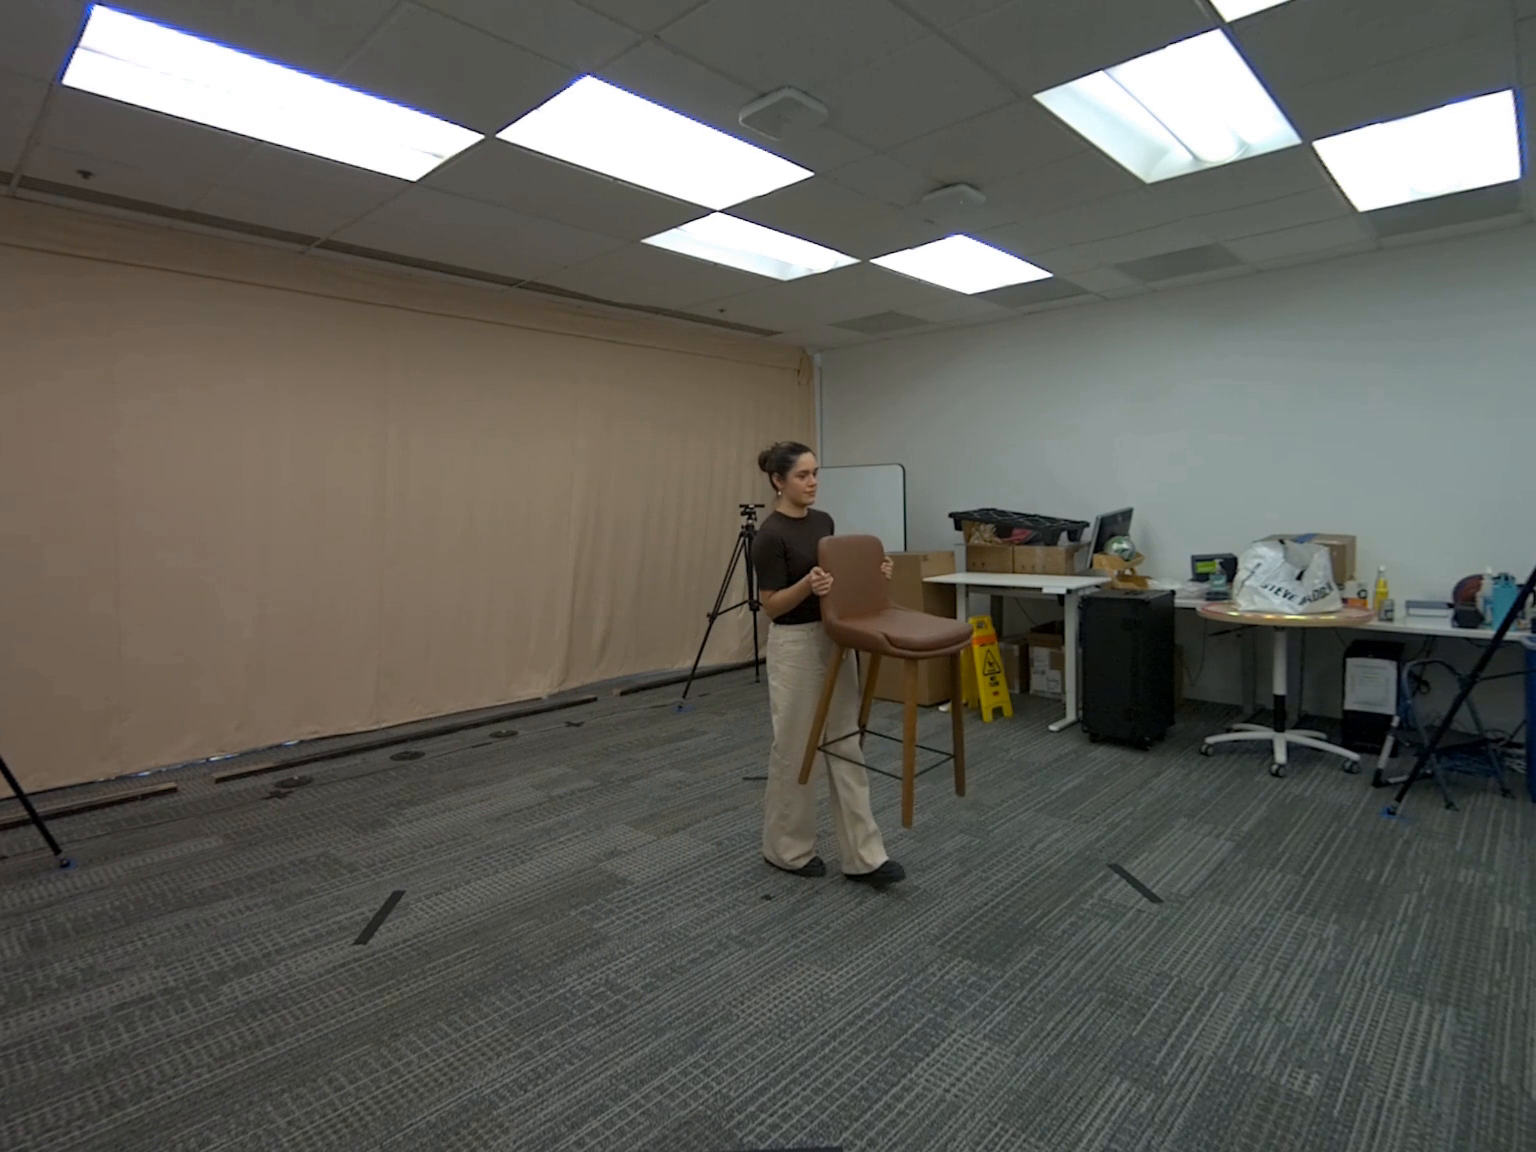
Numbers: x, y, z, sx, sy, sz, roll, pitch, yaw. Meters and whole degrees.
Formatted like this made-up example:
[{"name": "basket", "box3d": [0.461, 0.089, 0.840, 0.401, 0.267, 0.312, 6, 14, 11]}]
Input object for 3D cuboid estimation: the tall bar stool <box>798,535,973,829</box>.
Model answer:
[{"name": "tall bar stool", "box3d": [0.434, 0.335, 2.905, 0.484, 0.887, 0.443, 8, 8, 40]}]
